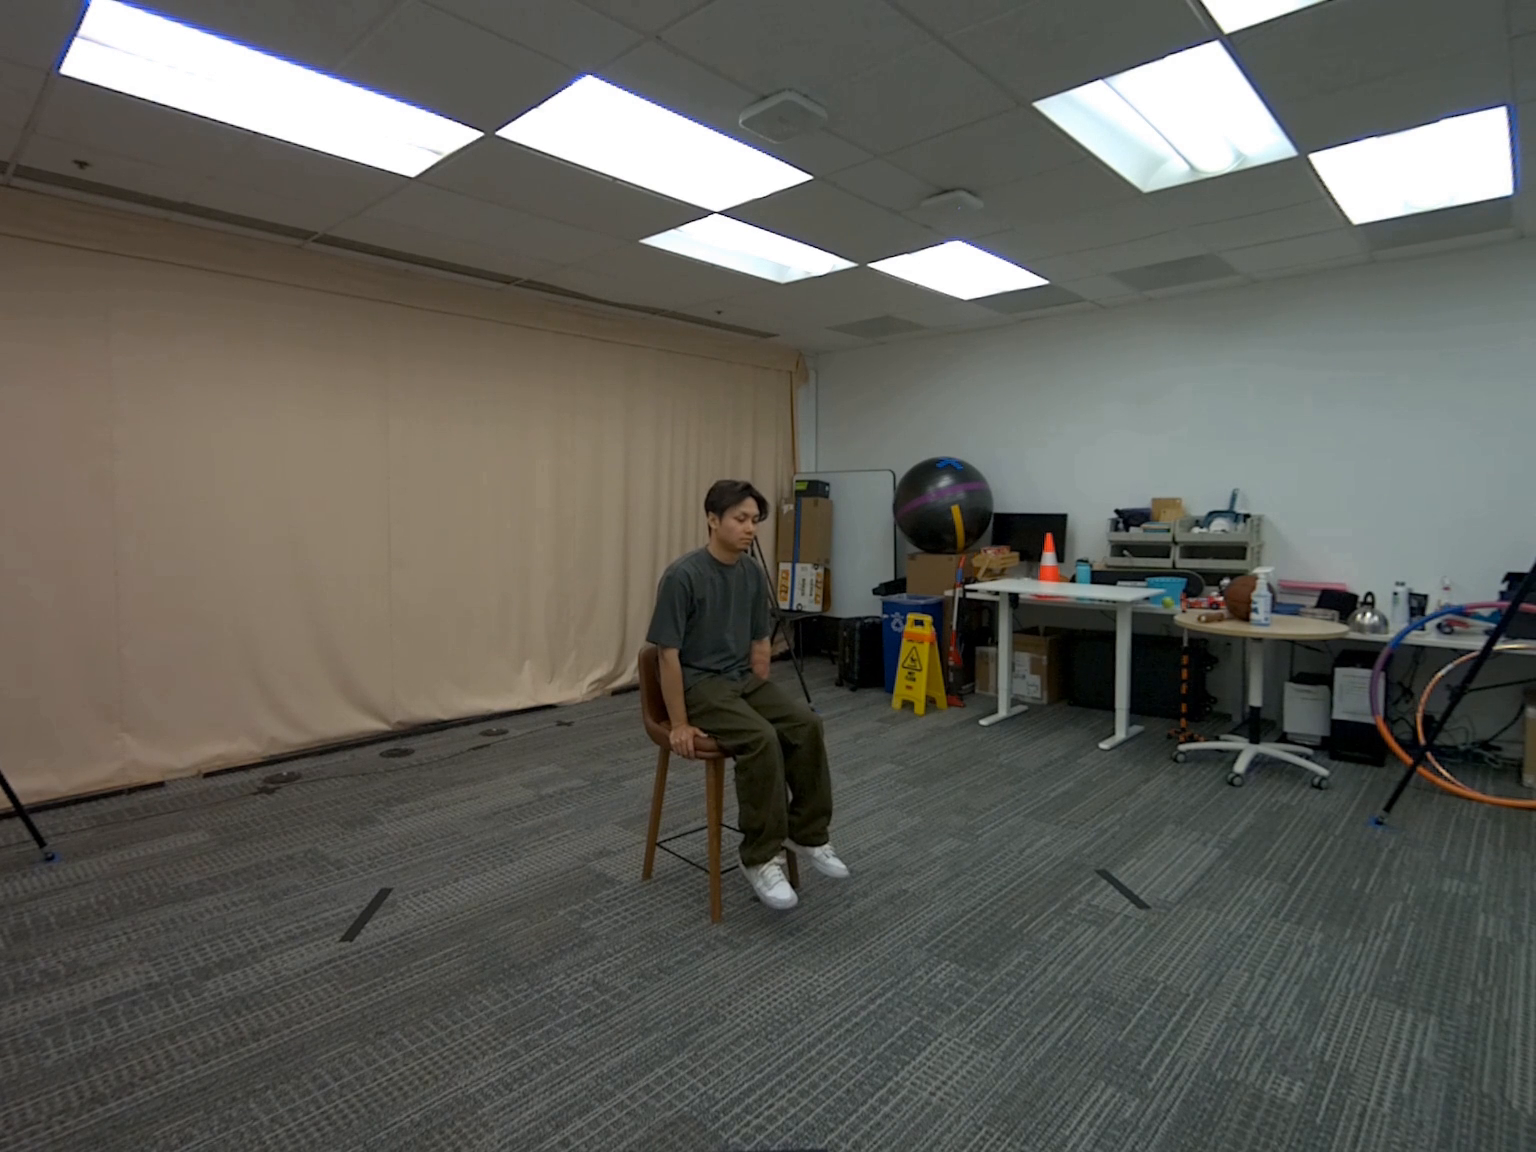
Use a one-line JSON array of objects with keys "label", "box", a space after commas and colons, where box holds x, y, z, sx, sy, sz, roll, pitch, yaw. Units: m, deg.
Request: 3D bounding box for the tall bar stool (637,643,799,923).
[{"label": "tall bar stool", "box": [-0.197, 0.700, 3.096, 0.442, 0.889, 0.482, -3, 2, -43]}]
